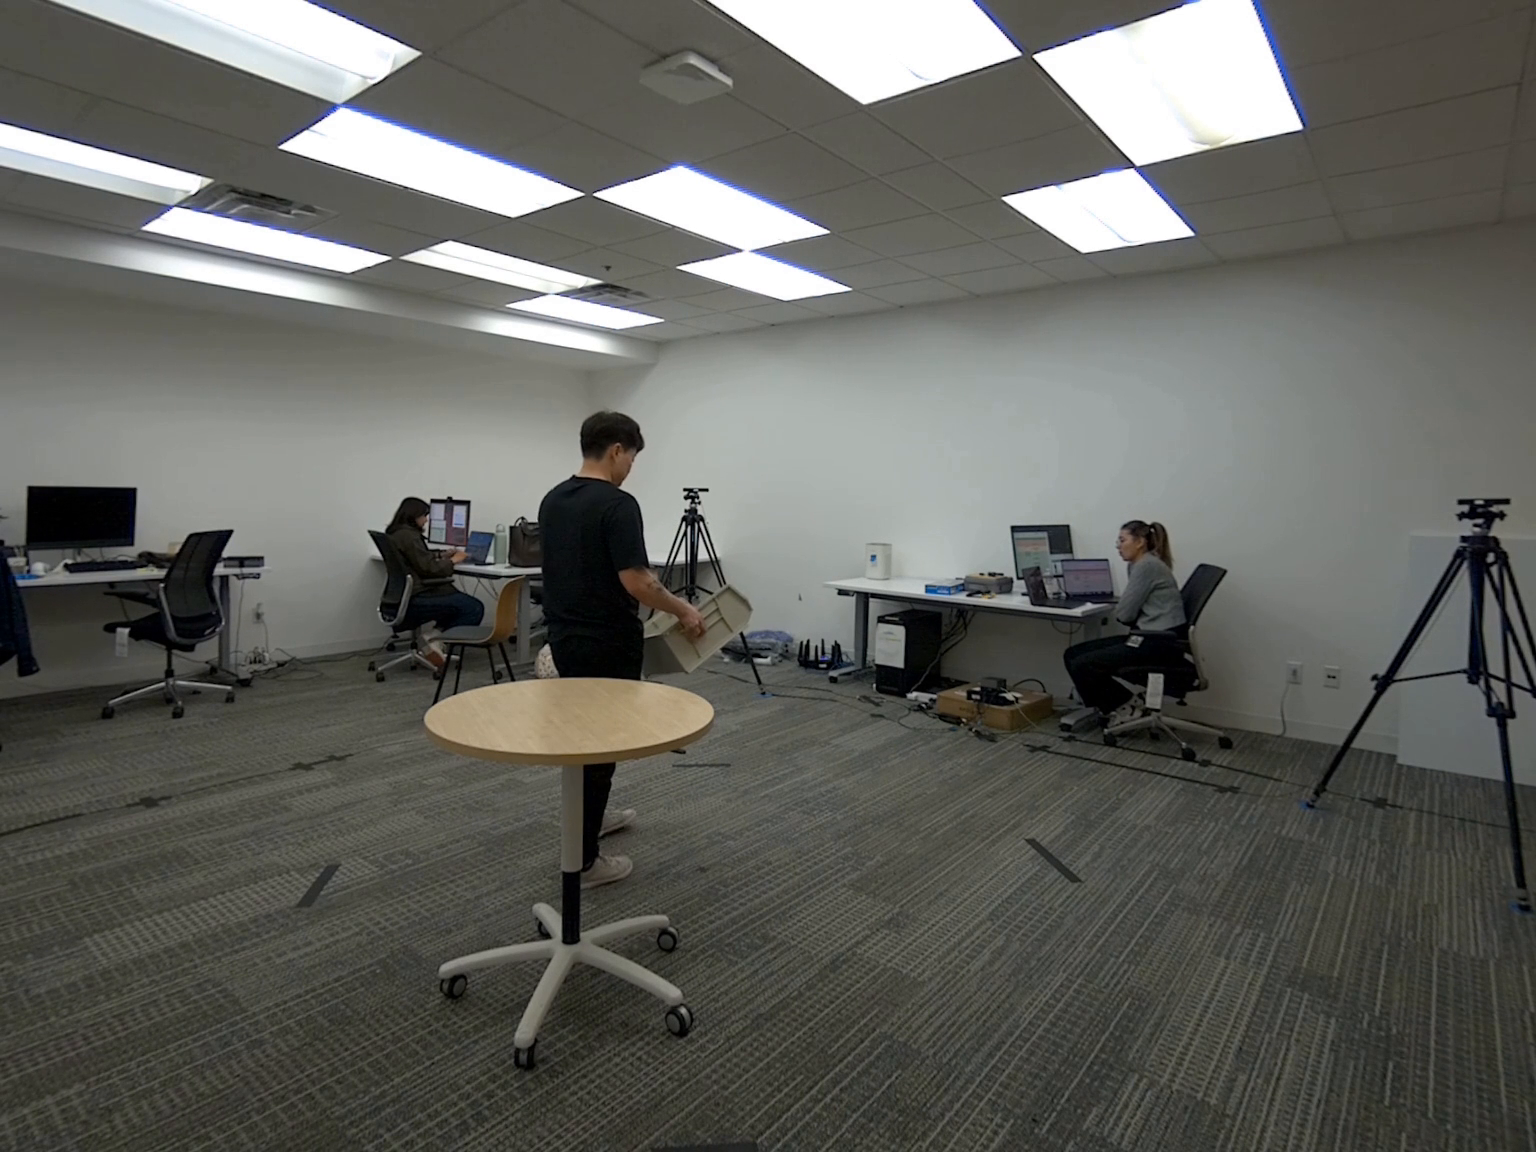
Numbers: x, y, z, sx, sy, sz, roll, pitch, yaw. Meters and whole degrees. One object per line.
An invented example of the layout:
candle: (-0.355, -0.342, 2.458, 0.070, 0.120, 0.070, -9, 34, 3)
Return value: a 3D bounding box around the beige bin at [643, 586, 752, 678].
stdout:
beige bin: (-0.327, 0.209, 3.288, 0.375, 0.187, 0.430, -38, 11, -31)
